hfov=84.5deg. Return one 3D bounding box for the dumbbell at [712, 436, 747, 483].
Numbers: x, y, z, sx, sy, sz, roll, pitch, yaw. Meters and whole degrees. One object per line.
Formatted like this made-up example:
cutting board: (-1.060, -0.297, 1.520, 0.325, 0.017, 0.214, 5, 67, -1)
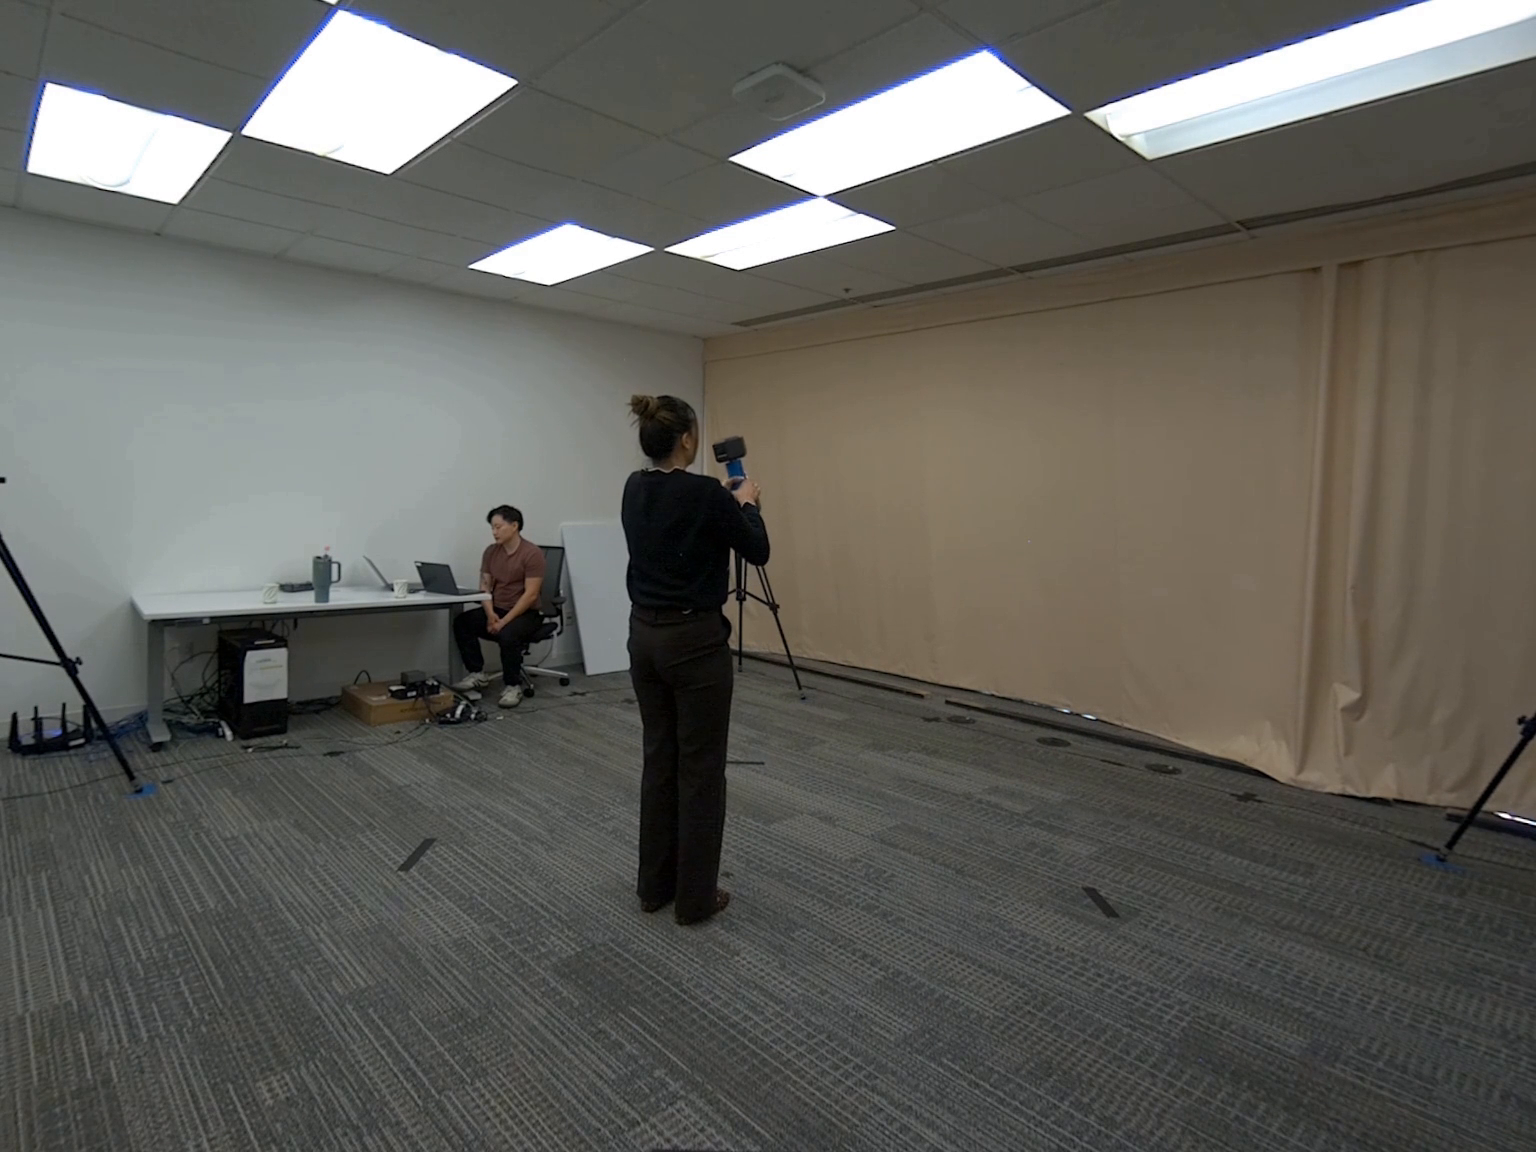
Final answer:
dumbbell: (-0.117, -0.353, 2.998, 0.122, 0.292, 0.110, -17, 8, -19)
